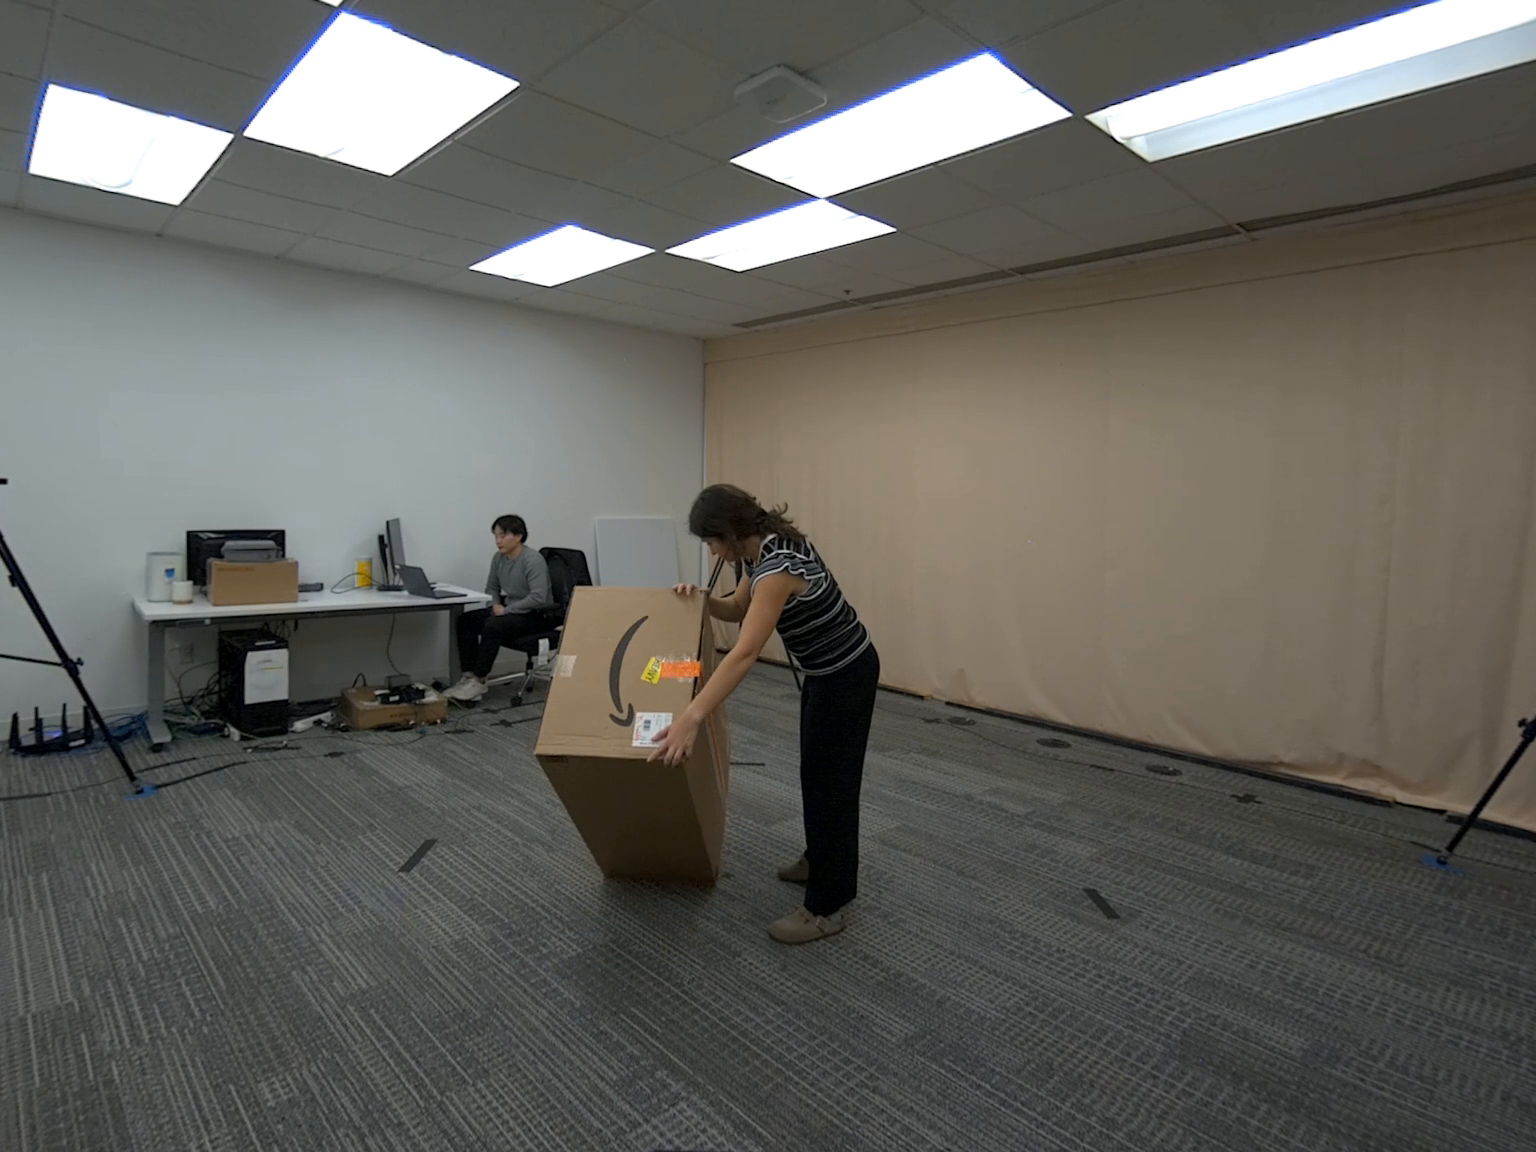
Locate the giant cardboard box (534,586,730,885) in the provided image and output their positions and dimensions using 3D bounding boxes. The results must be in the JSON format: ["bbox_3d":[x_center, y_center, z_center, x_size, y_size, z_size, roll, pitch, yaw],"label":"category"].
[{"bbox_3d":[-0.405,0.574,2.851,0.428,0.588,1.001,1,-38,5],"label":"giant cardboard box"}]
